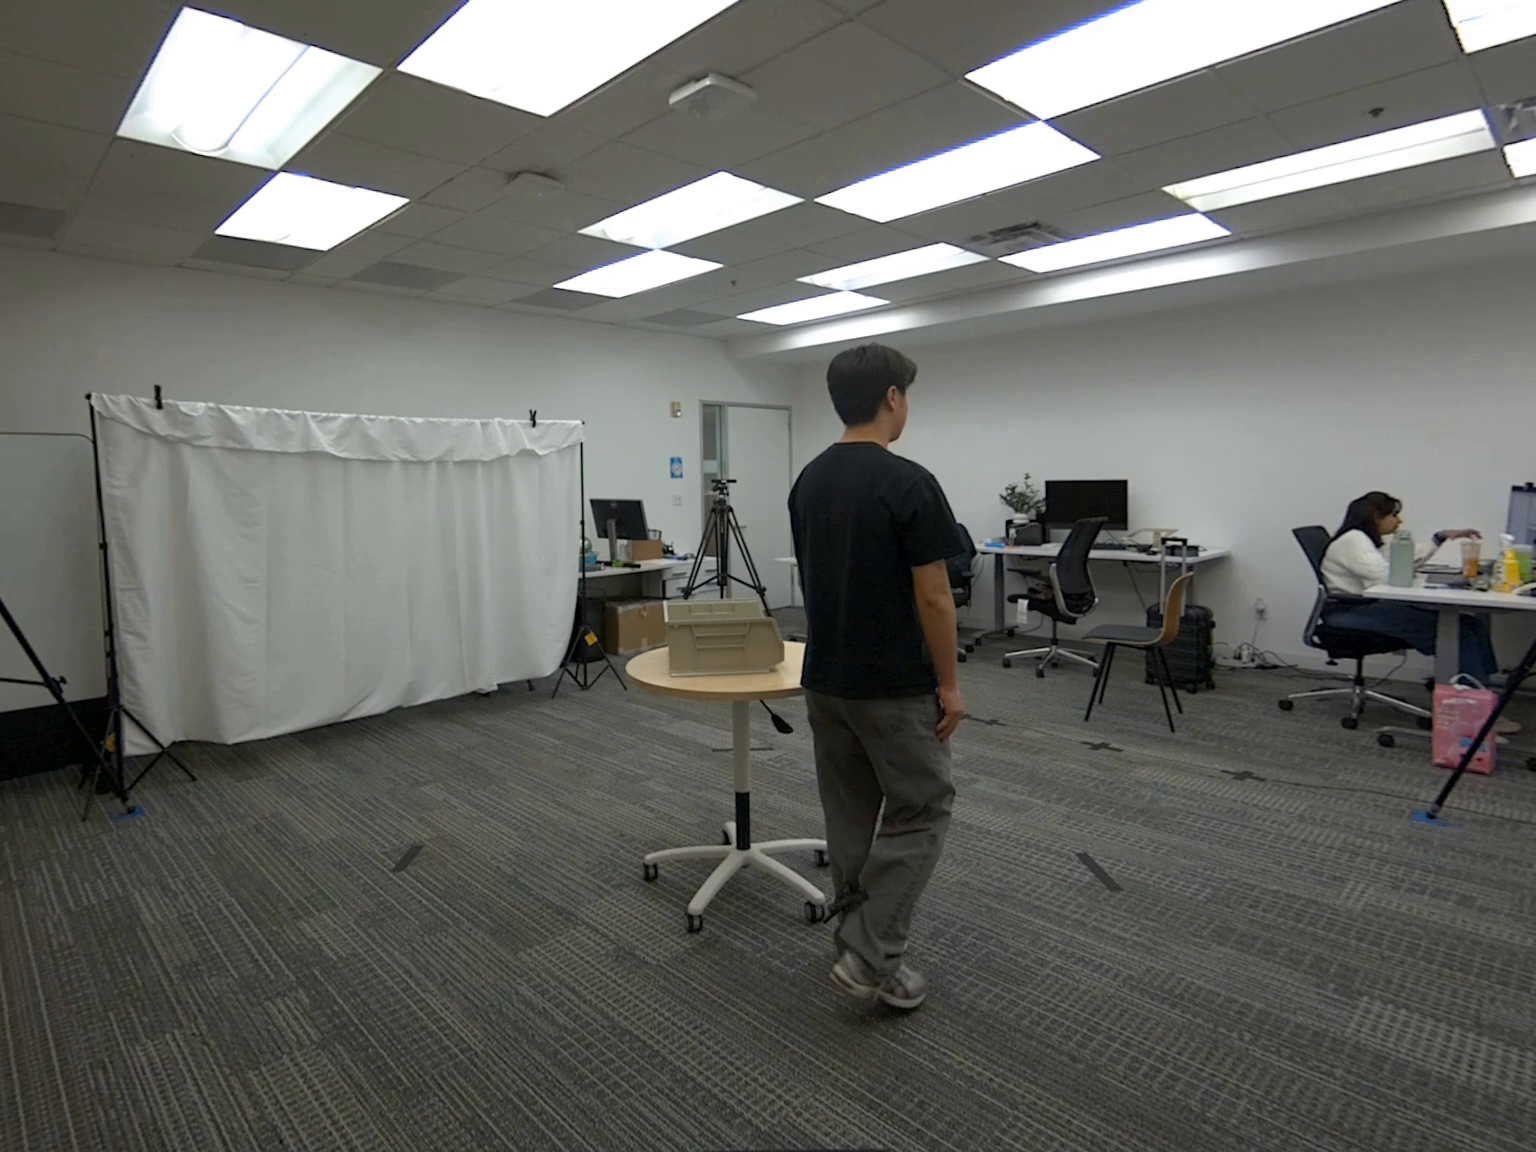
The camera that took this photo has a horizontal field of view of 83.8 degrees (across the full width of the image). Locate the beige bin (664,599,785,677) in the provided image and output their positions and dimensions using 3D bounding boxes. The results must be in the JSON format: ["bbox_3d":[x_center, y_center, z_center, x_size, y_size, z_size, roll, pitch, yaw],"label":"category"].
[{"bbox_3d":[-0.156,0.198,2.904,0.375,0.188,0.427,-3,7,-6],"label":"beige bin"}]
